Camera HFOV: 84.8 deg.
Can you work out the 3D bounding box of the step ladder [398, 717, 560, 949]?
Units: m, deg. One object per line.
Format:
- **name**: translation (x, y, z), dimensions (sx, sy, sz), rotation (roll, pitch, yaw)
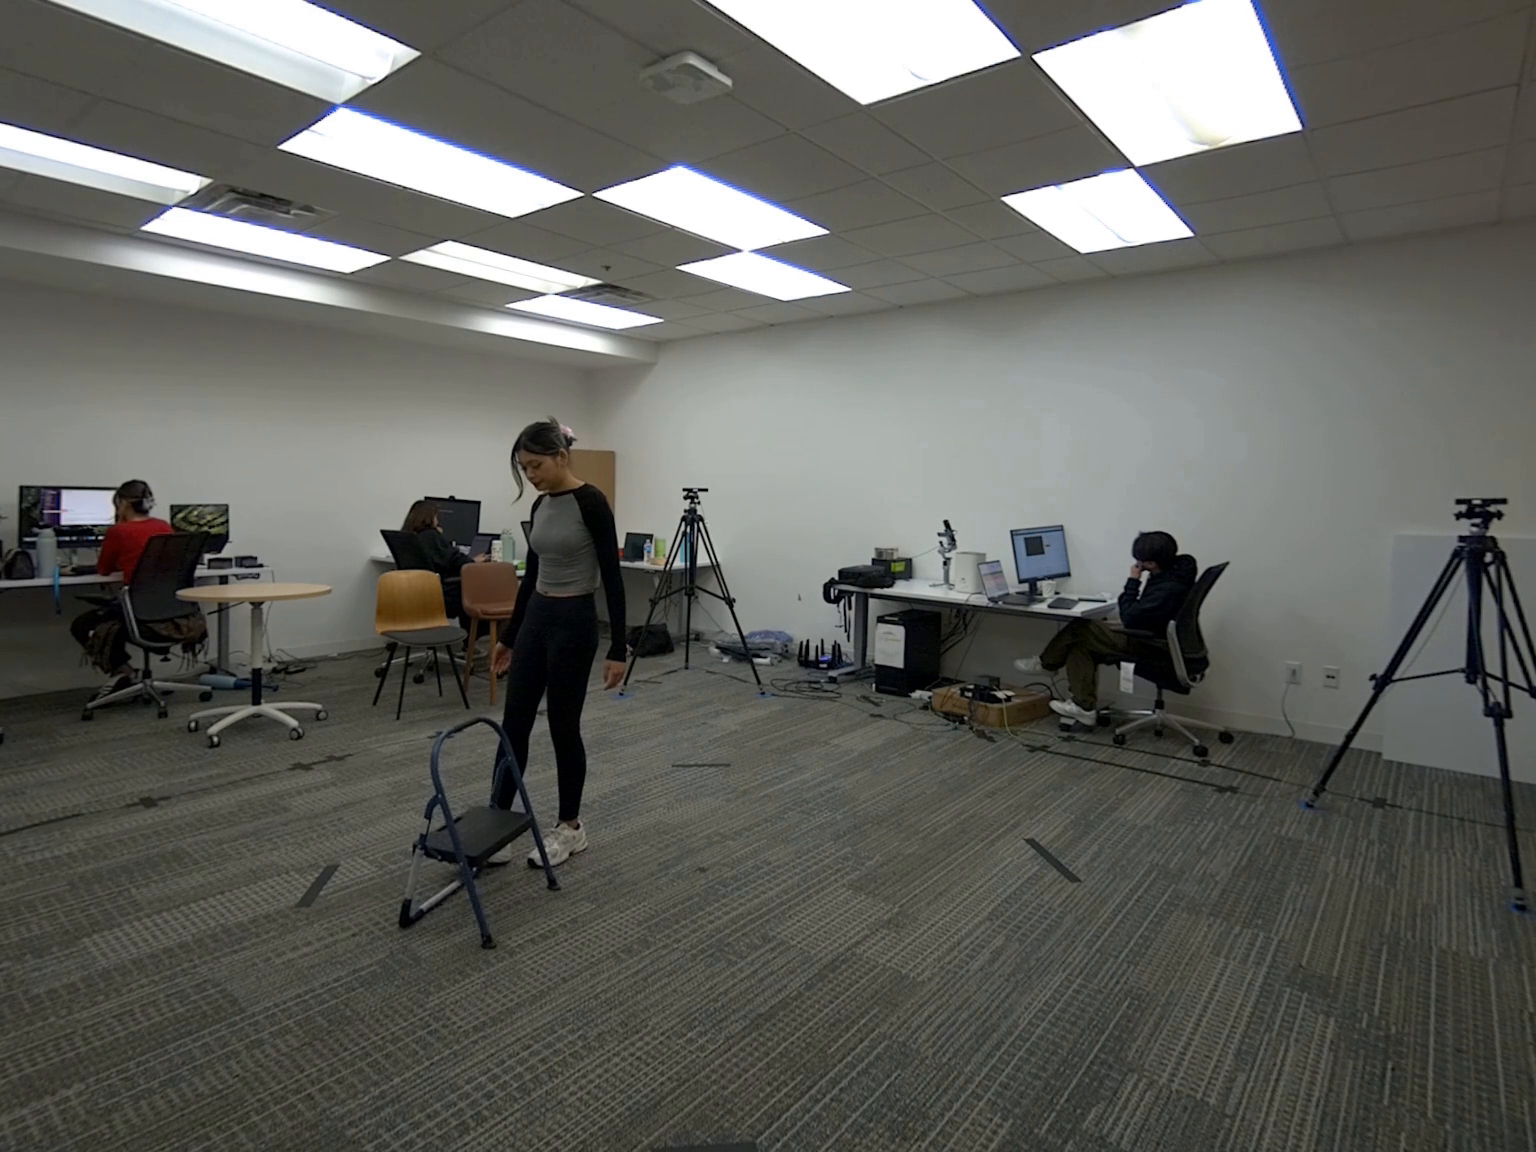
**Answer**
- **step ladder**: translation (-0.947, 0.790, 2.784), dimensions (0.356, 0.604, 0.424), rotation (2, 4, 16)
